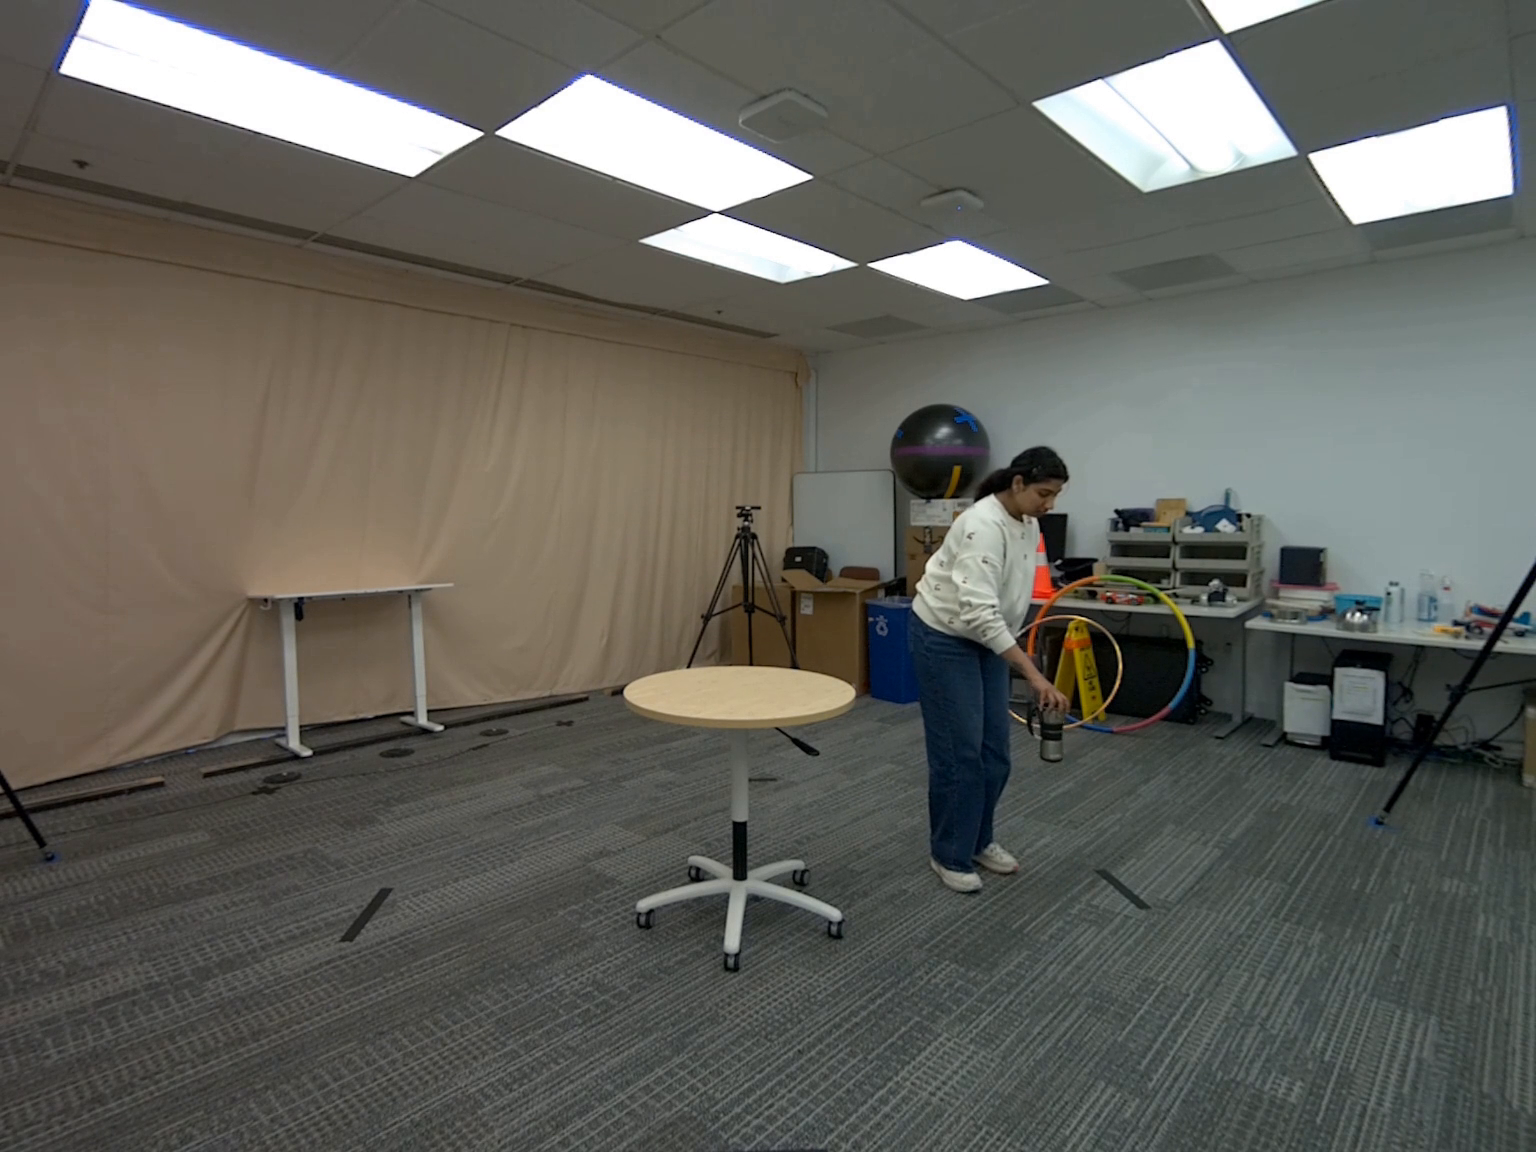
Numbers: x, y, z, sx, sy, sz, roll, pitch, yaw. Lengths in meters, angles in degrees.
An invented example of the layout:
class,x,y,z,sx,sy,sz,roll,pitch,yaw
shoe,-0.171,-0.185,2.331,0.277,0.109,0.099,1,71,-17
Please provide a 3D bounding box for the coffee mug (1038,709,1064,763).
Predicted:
class,x,y,z,sx,sy,sz,roll,pitch,yaw
coffee mug,0.924,0.506,2.824,0.126,0.202,0.085,5,11,42
